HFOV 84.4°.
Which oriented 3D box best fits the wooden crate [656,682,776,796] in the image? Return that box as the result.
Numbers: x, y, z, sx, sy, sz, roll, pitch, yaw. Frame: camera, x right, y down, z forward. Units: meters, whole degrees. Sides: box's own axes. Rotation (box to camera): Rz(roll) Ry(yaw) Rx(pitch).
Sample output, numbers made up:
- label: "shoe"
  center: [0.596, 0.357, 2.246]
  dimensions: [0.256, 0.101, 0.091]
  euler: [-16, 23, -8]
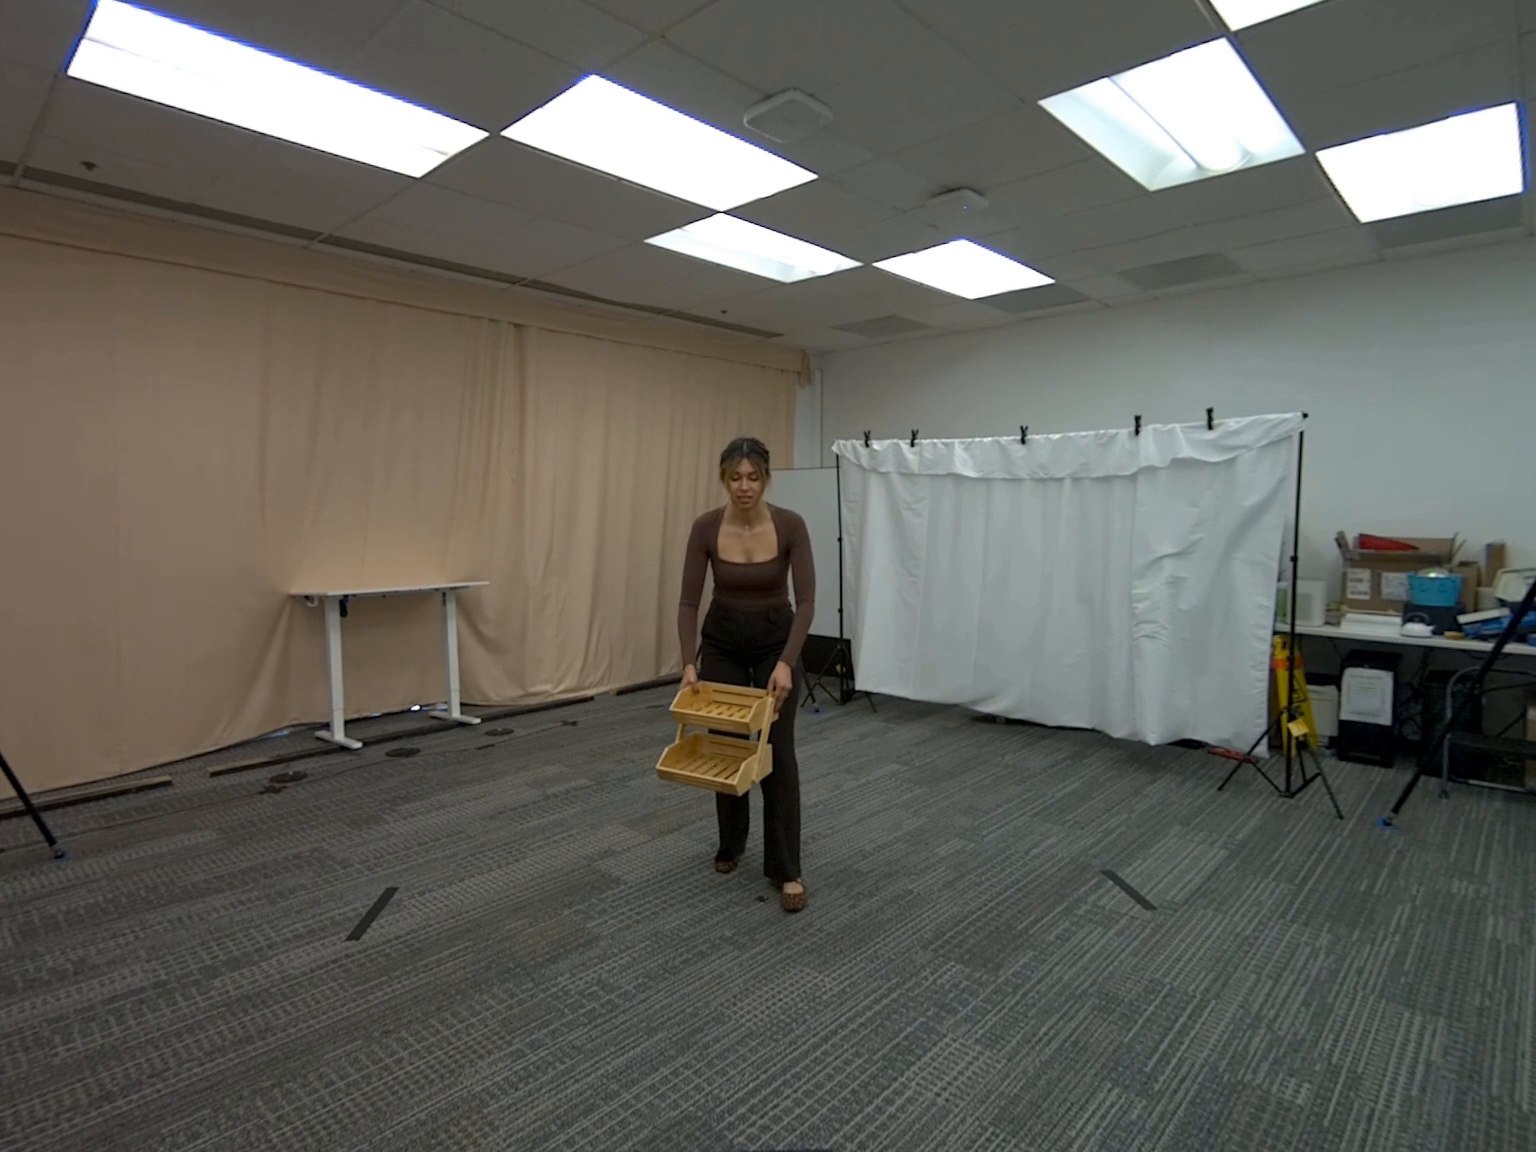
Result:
- label: "wooden crate"
  center: [-0.167, 0.526, 2.790]
  dimensions: [0.334, 0.272, 0.295]
  euler: [3, 8, 29]
